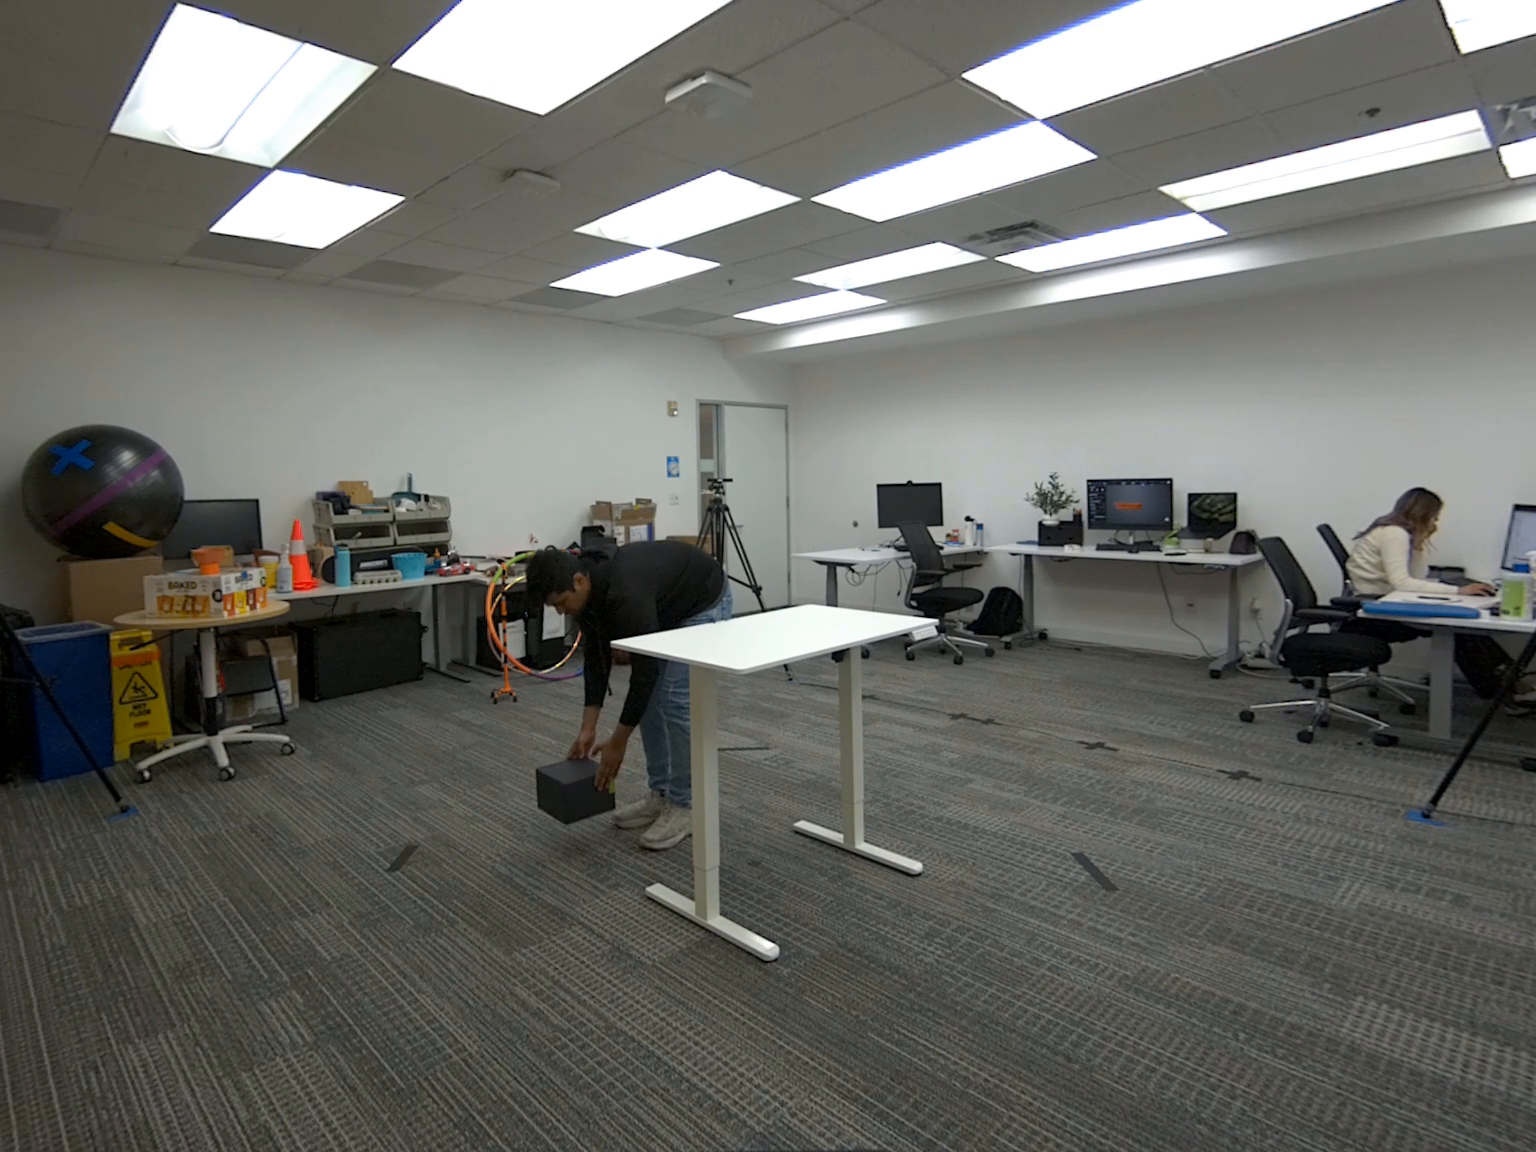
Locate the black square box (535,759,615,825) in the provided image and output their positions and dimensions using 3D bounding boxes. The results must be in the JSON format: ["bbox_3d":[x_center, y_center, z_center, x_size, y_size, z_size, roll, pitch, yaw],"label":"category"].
[{"bbox_3d":[-0.733,0.799,3.249,0.211,0.155,0.235,-7,8,-42],"label":"black square box"}]
